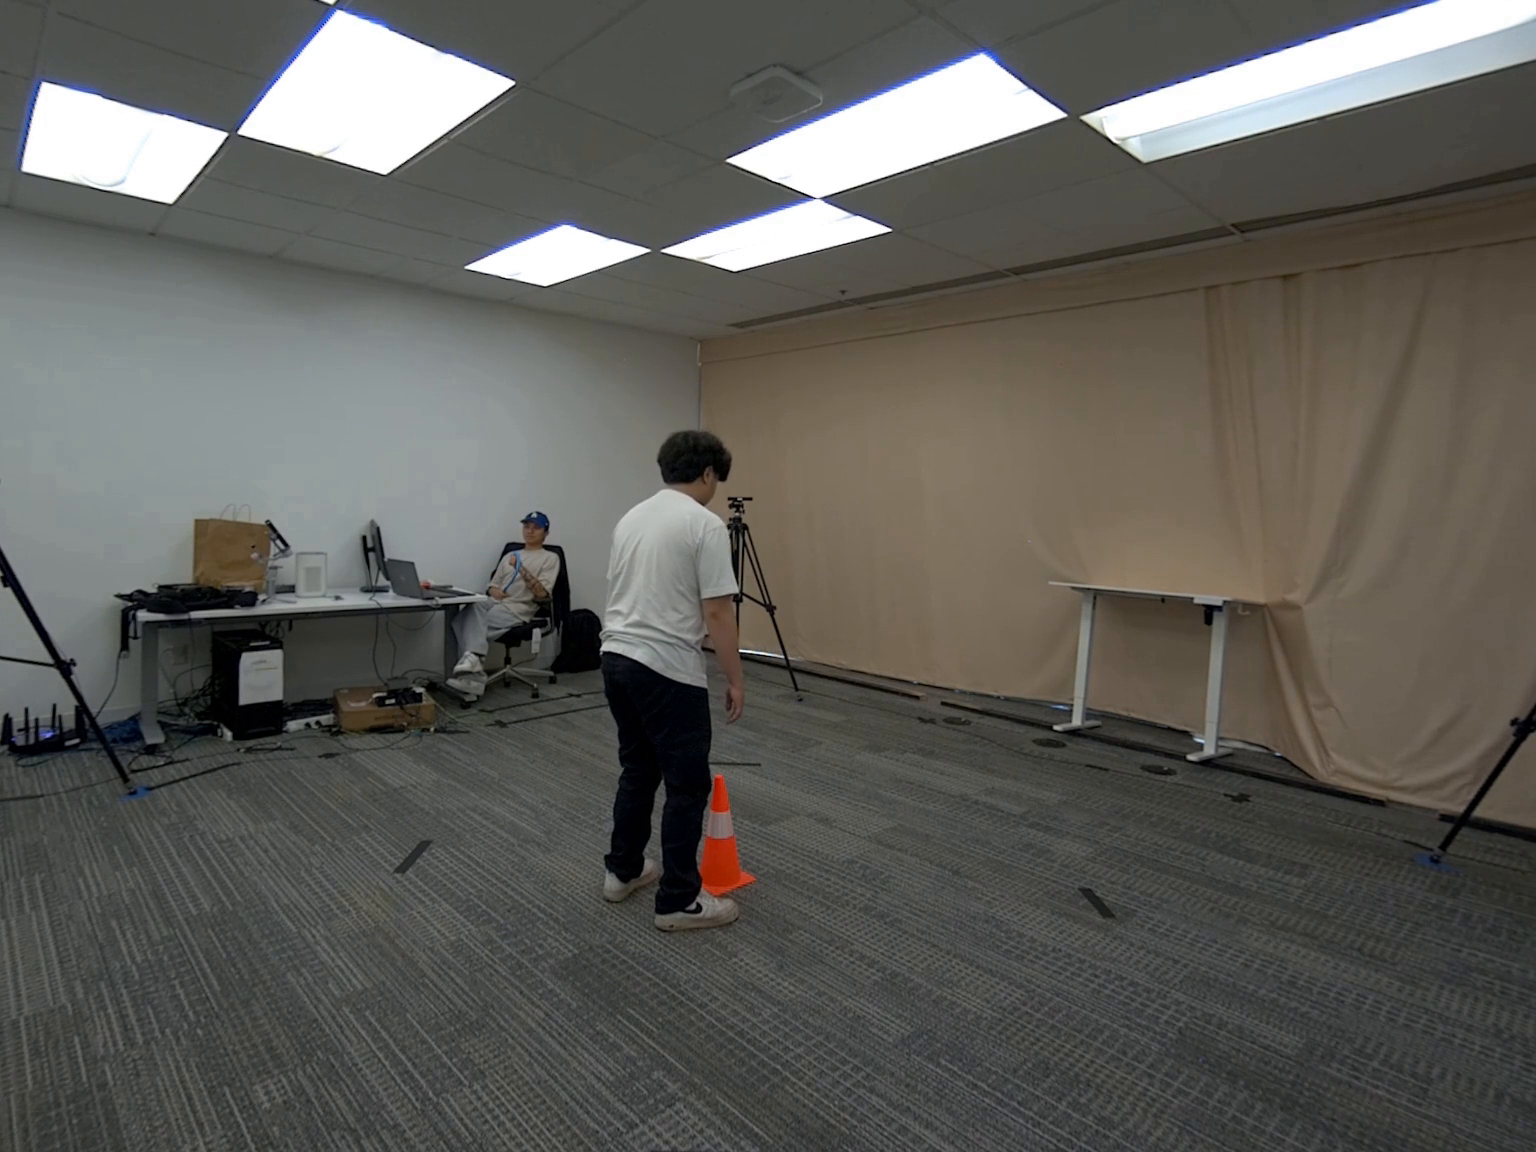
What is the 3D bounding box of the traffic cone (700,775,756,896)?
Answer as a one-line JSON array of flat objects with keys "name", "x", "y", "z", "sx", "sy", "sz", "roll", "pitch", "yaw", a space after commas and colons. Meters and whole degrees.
[{"name": "traffic cone", "x": -0.184, "y": 0.925, "z": 3.079, "sx": 0.210, "sy": 0.383, "sz": 0.199, "roll": 1, "pitch": 2, "yaw": 39}]
